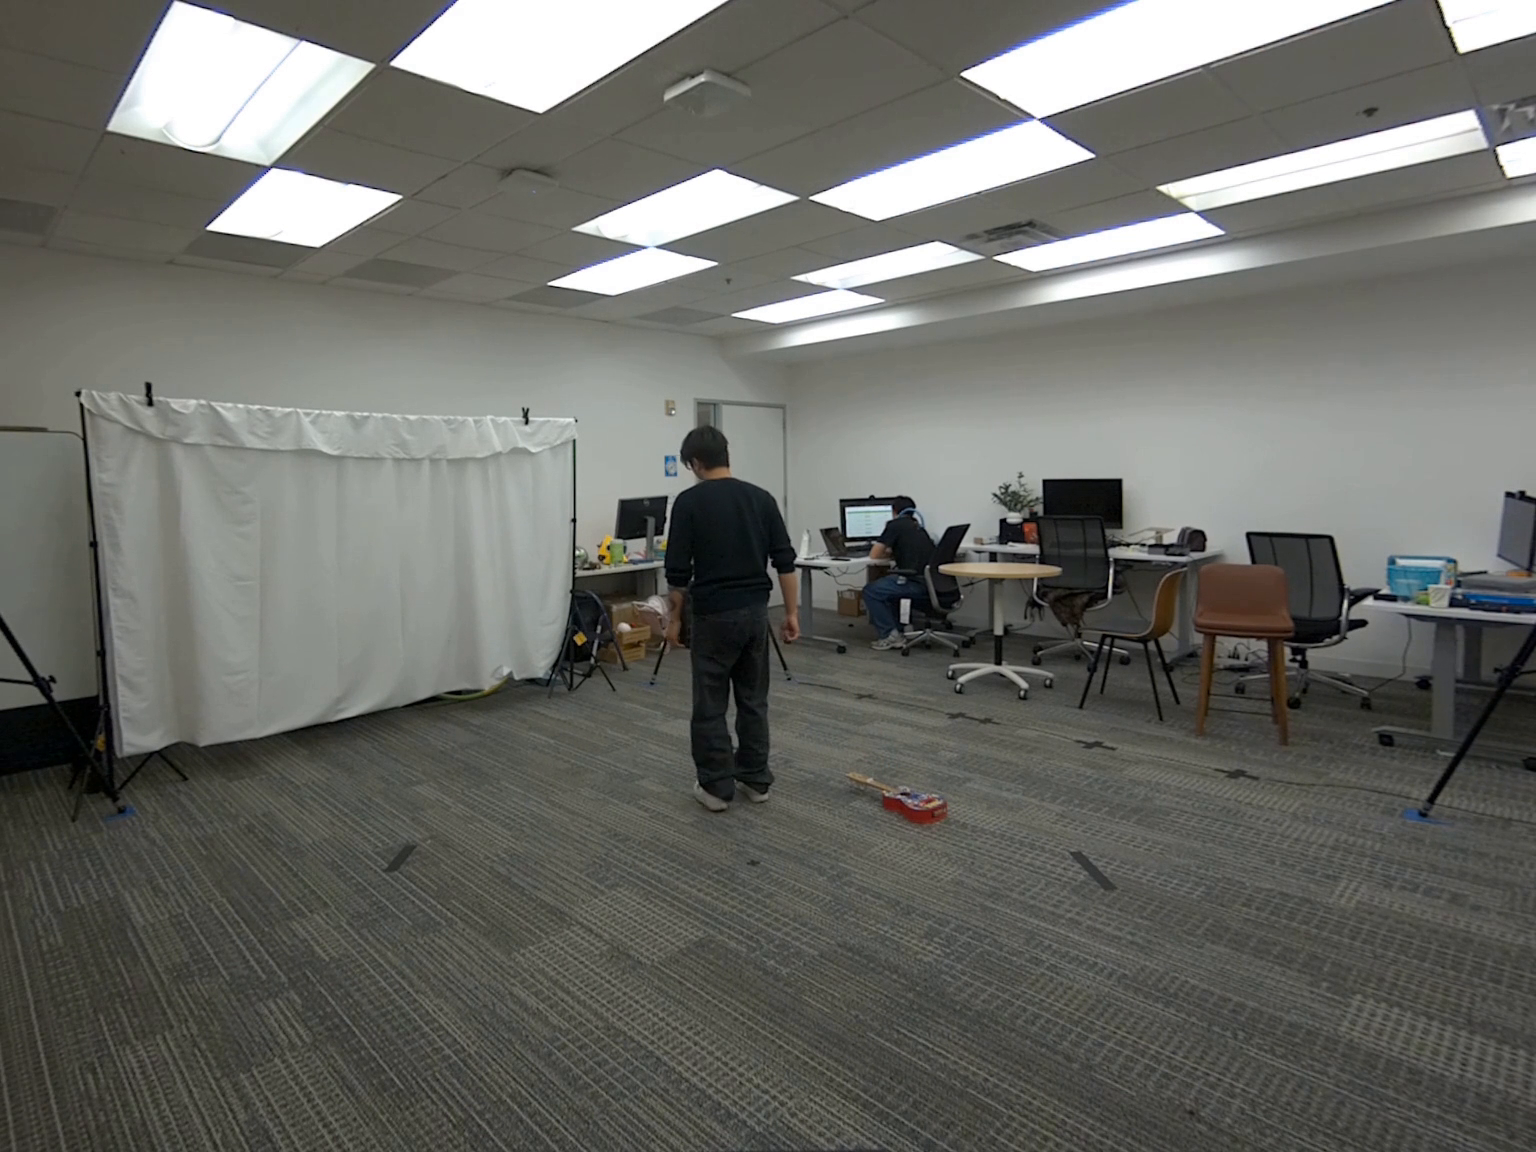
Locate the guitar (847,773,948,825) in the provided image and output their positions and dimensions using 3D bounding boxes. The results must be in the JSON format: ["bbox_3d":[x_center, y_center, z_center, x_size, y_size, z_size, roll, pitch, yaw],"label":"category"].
[{"bbox_3d":[0.555,0.939,3.668,0.188,0.070,0.512,-5,7,-31],"label":"guitar"}]
